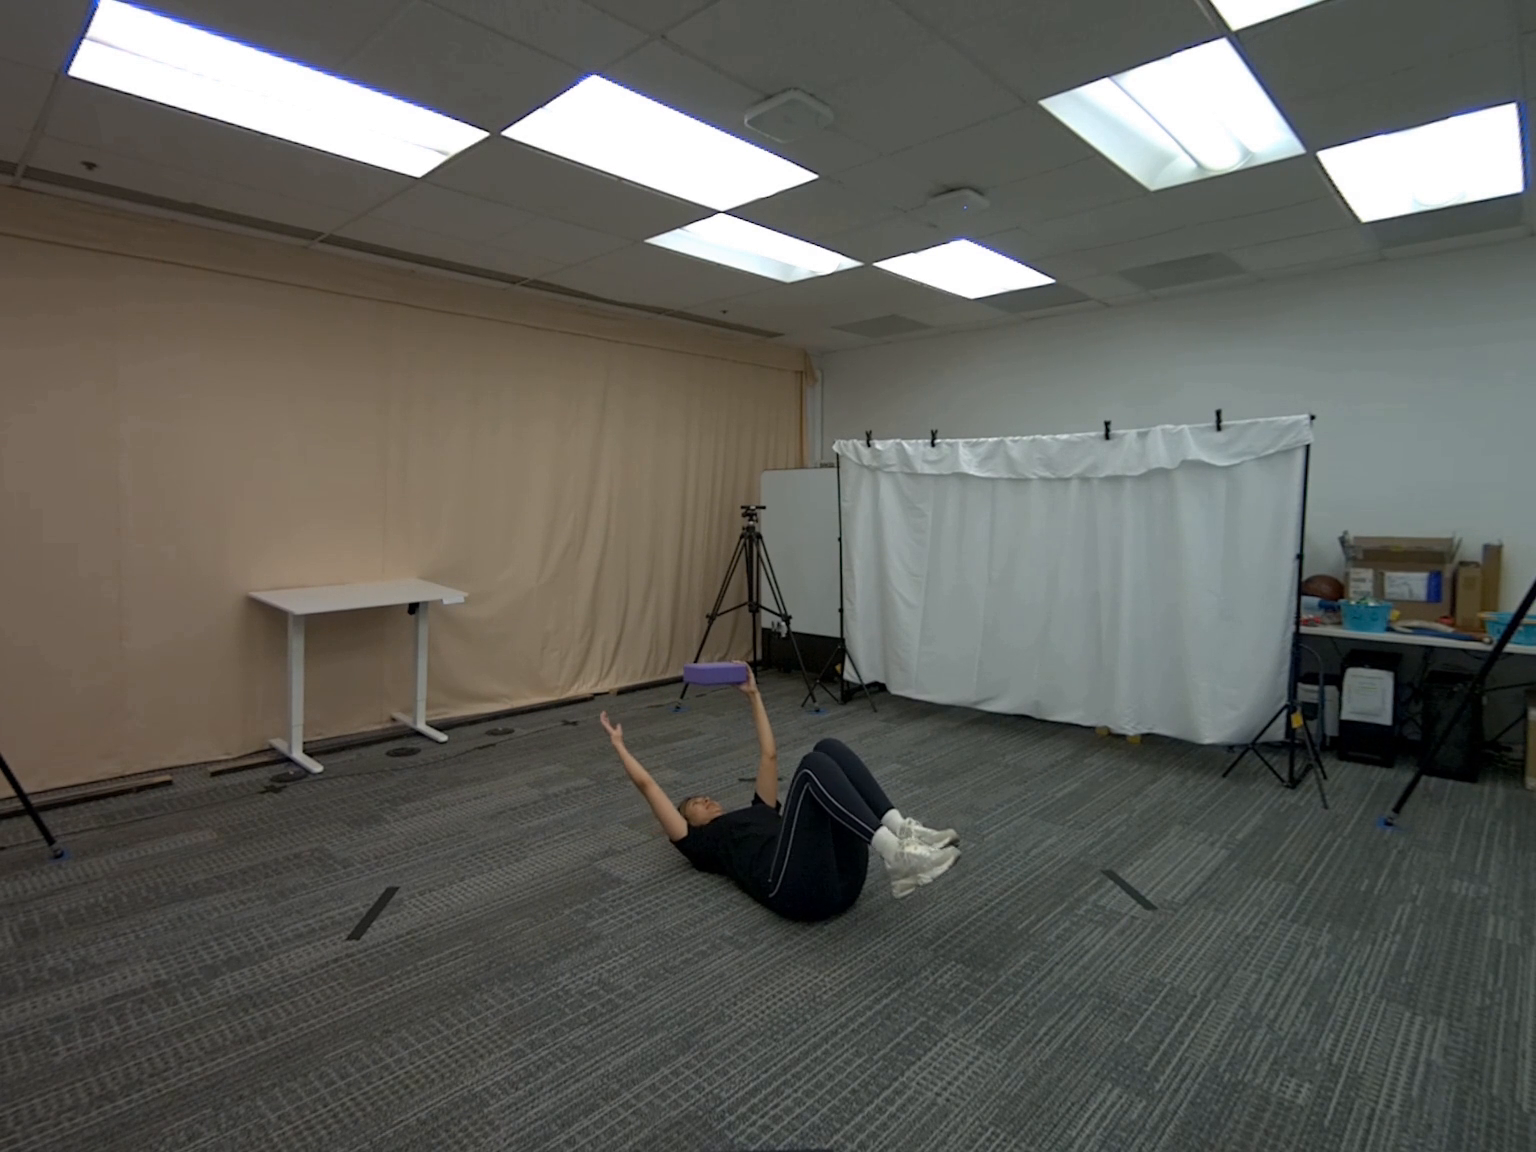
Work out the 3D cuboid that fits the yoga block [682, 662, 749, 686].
[{"bbox_3d":[-0.226,0.403,3.496,0.222,0.076,0.153,1,-1,-34],"label":"yoga block"}]
